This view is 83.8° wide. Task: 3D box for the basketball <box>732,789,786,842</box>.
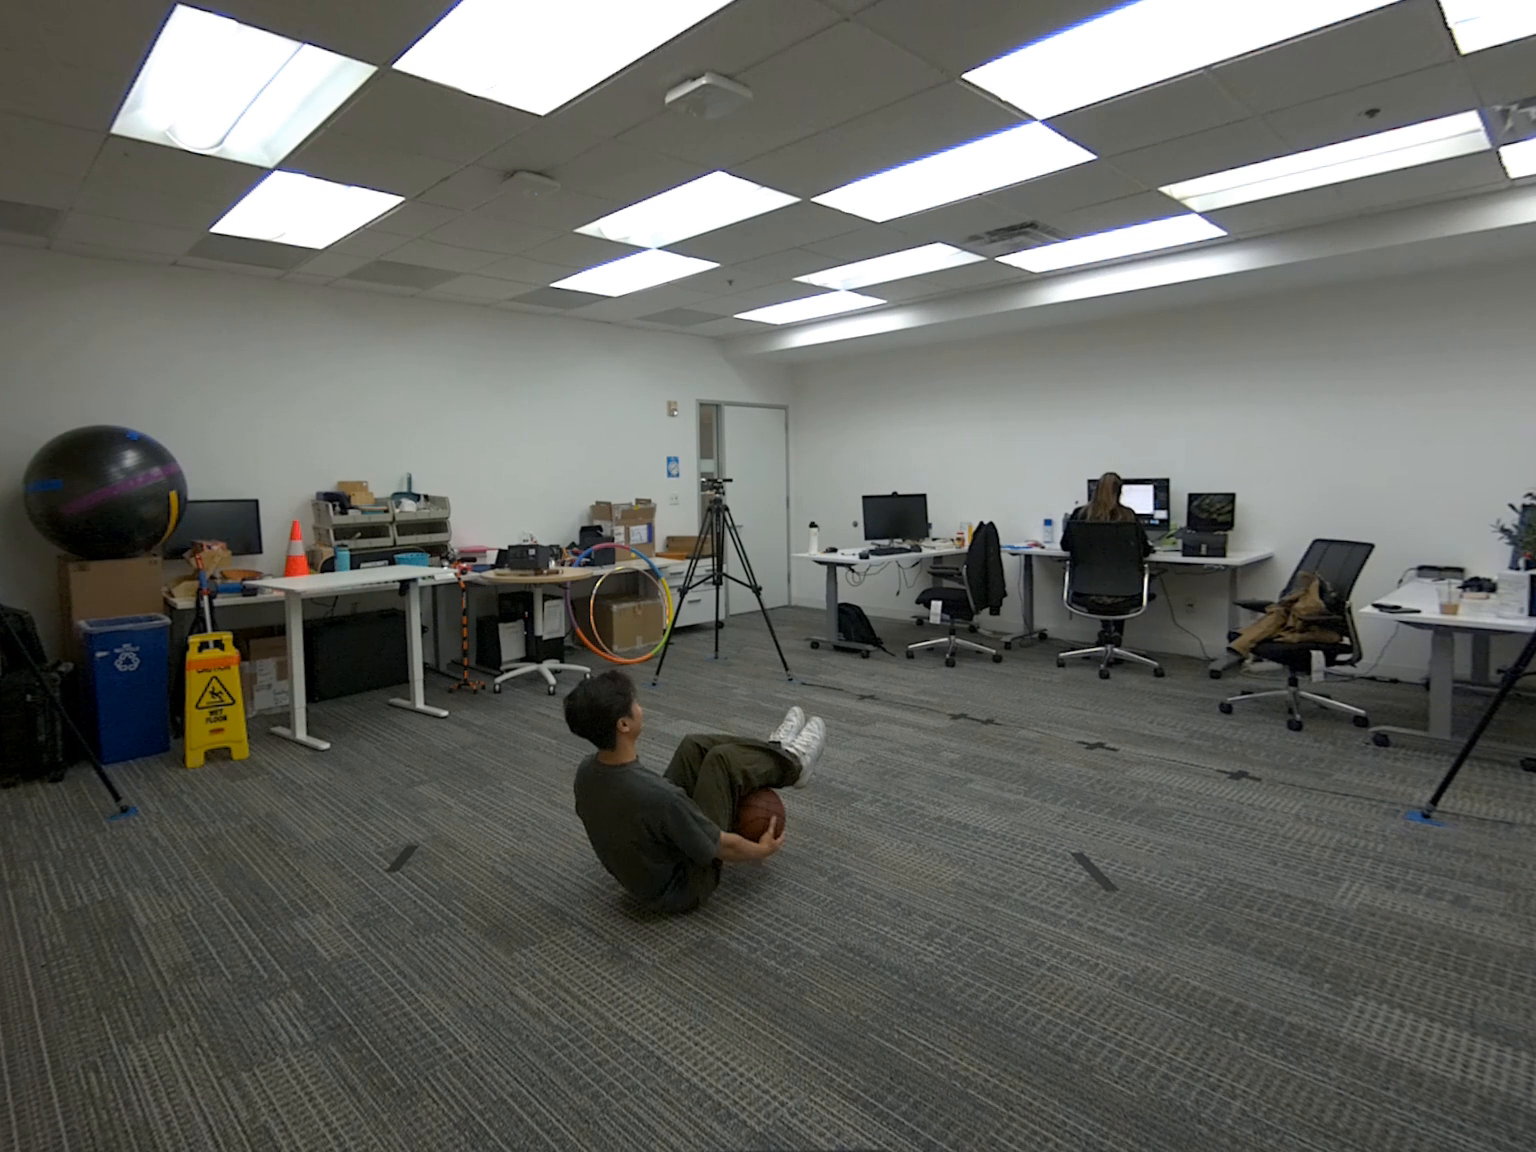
[{"bbox_3d":[-0.058,0.858,3.048,0.236,0.235,0.237,-1,5,-2],"label":"basketball"}]
